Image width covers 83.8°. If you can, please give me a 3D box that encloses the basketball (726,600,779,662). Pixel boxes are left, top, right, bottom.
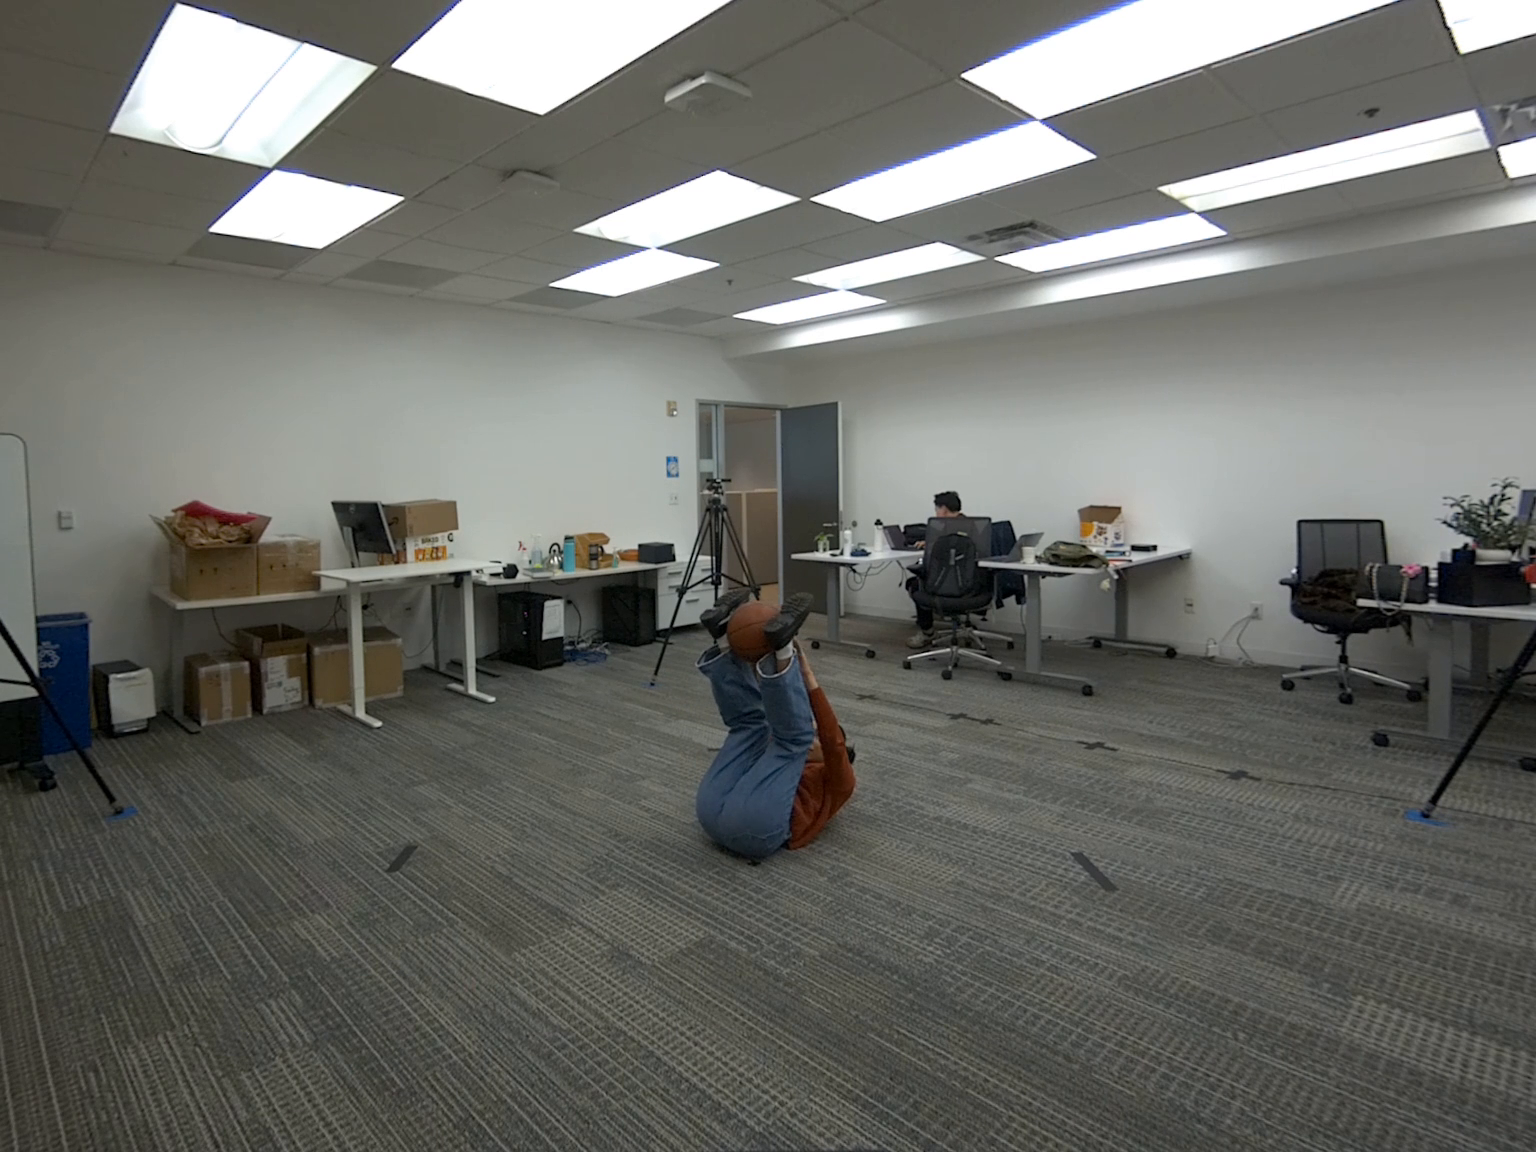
[{"bbox_3d":[-0.047,0.210,3.247,0.236,0.236,0.236,0,1,-2],"label":"basketball"}]
